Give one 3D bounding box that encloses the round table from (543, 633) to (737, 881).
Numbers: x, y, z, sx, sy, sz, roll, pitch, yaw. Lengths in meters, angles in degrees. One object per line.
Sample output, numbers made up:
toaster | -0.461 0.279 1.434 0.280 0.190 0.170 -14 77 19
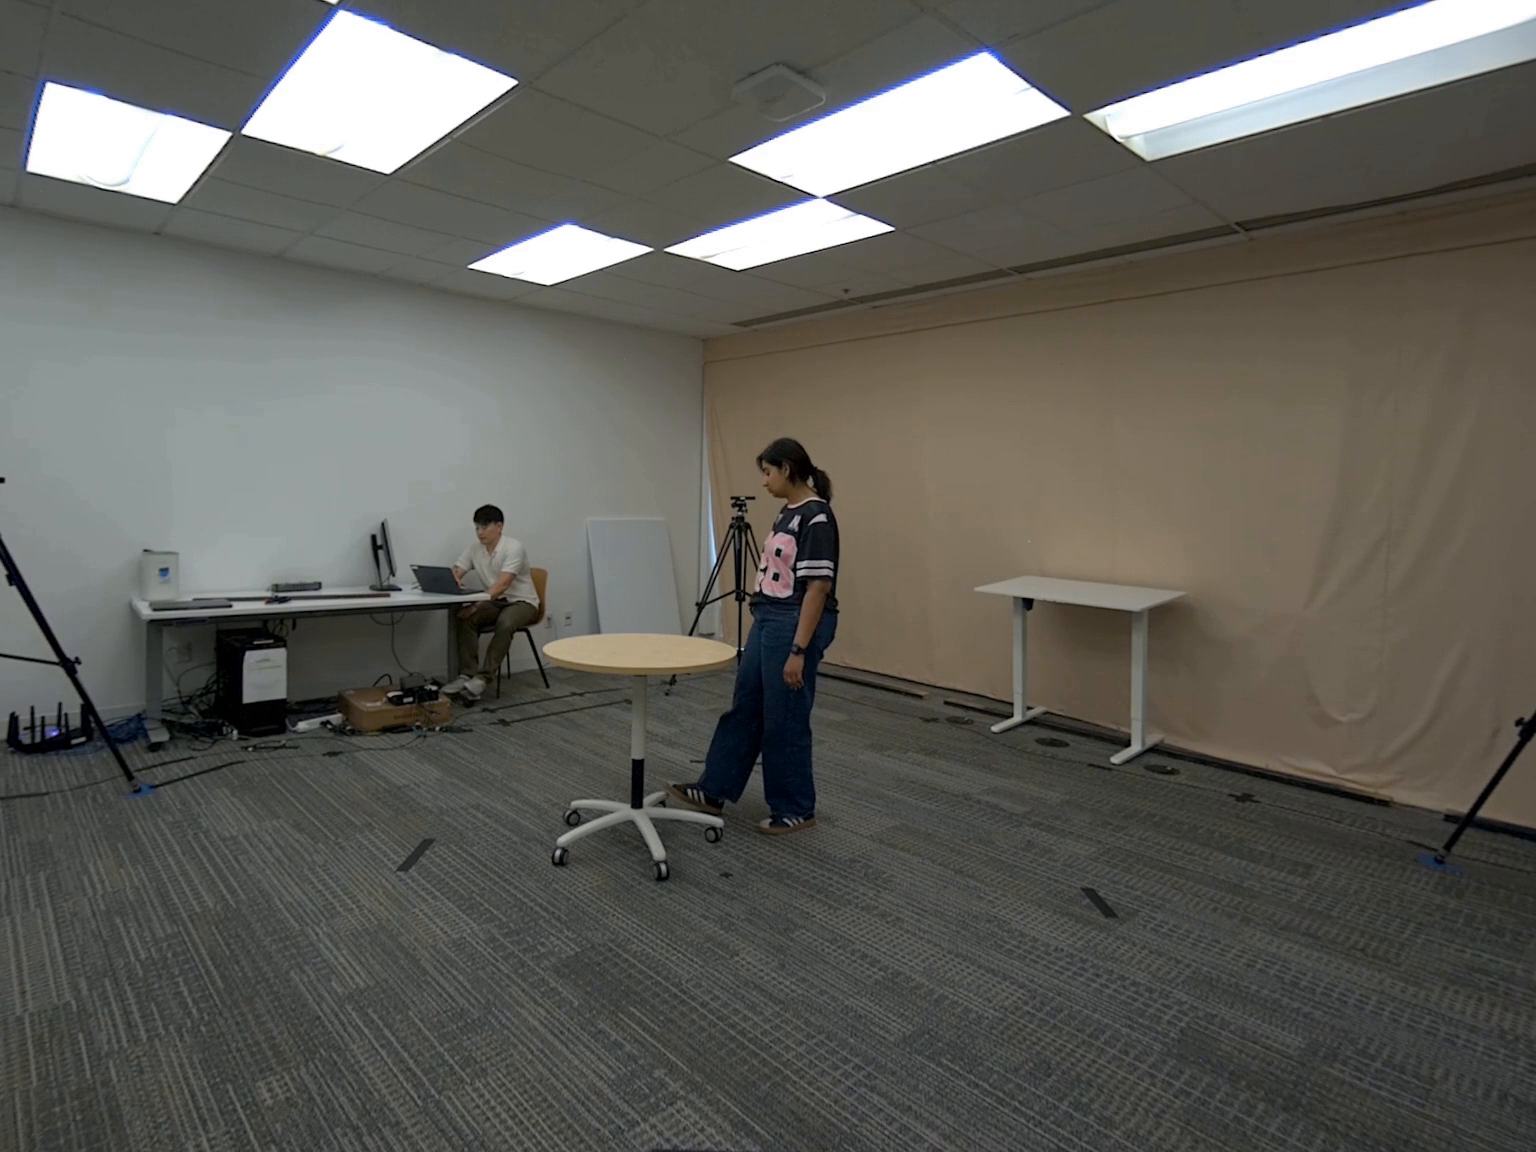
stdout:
round table | -0.533 0.685 3.364 0.763 0.792 0.766 1 4 -1
